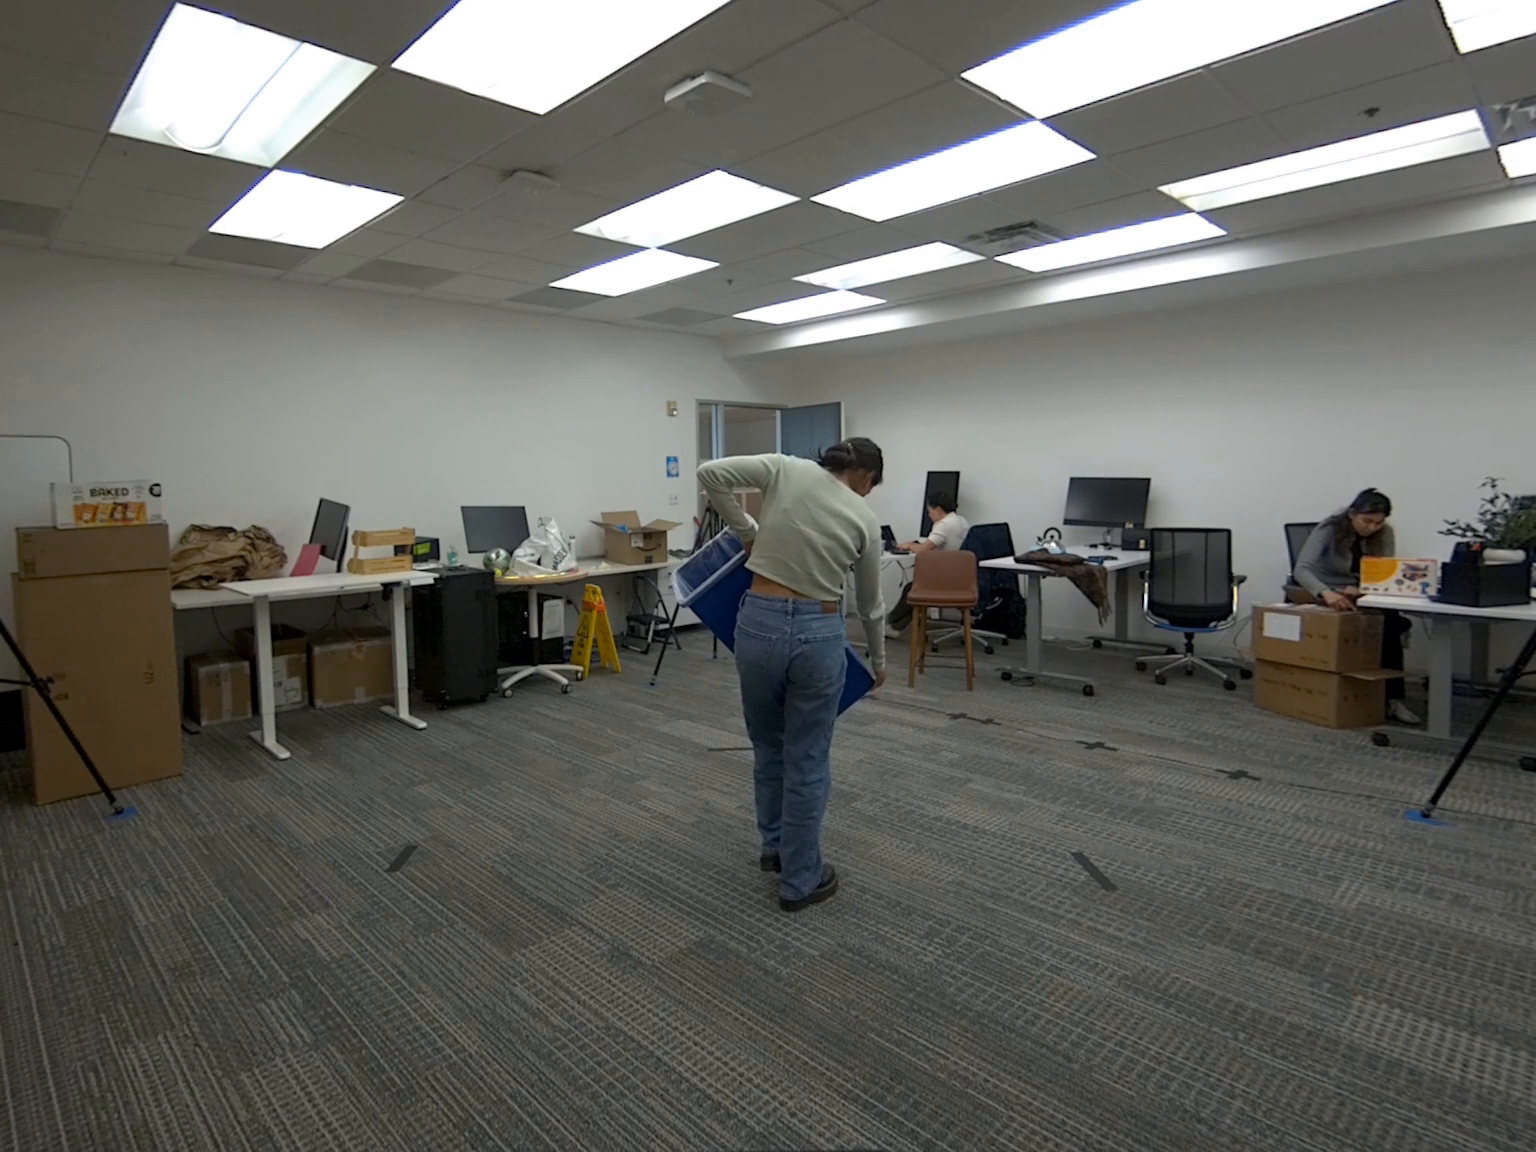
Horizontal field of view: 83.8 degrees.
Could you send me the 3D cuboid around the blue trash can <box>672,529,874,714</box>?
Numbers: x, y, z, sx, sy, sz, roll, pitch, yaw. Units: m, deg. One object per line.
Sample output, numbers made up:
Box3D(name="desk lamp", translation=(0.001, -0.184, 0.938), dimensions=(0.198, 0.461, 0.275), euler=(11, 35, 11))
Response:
Box3D(name="blue trash can", translation=(0.029, 0.183, 3.087), dimensions=(0.378, 0.699, 0.381), euler=(-40, 16, 4))
